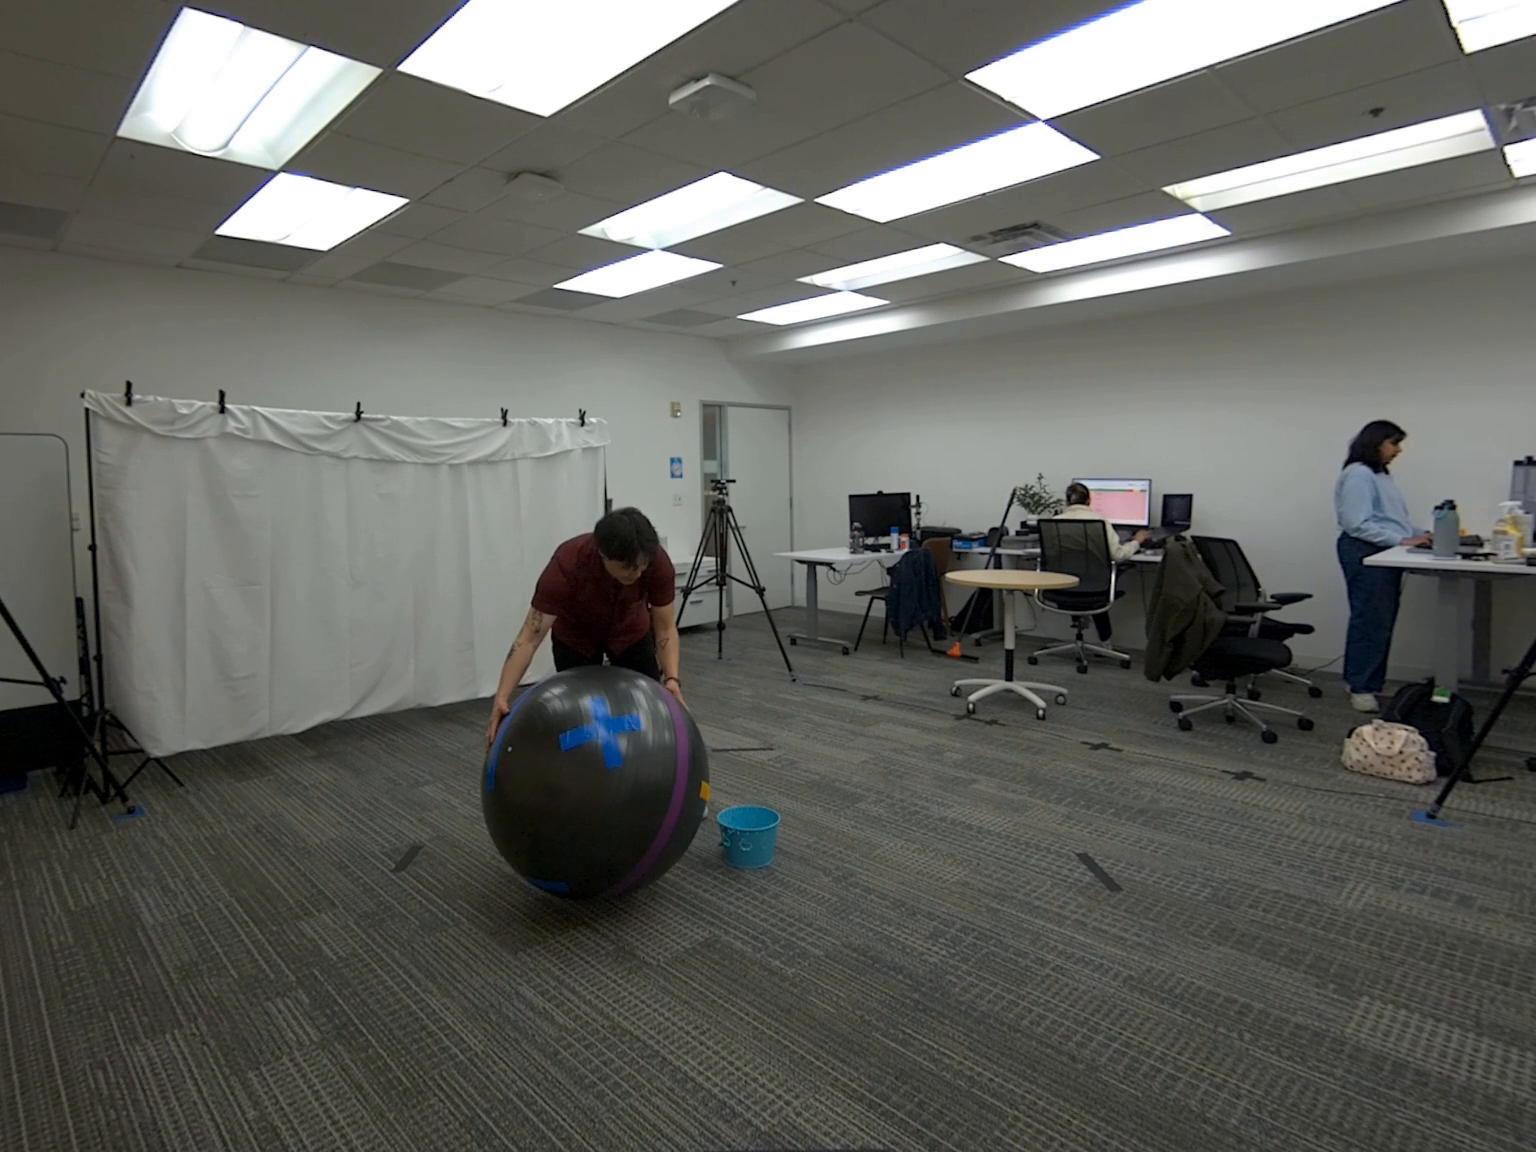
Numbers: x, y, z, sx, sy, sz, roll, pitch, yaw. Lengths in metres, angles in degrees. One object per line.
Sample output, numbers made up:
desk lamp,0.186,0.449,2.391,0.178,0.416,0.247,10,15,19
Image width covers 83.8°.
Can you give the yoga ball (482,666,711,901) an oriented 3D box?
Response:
yoga ball,-0.574,0.676,2.867,0.757,0.755,0.762,-1,5,-2
